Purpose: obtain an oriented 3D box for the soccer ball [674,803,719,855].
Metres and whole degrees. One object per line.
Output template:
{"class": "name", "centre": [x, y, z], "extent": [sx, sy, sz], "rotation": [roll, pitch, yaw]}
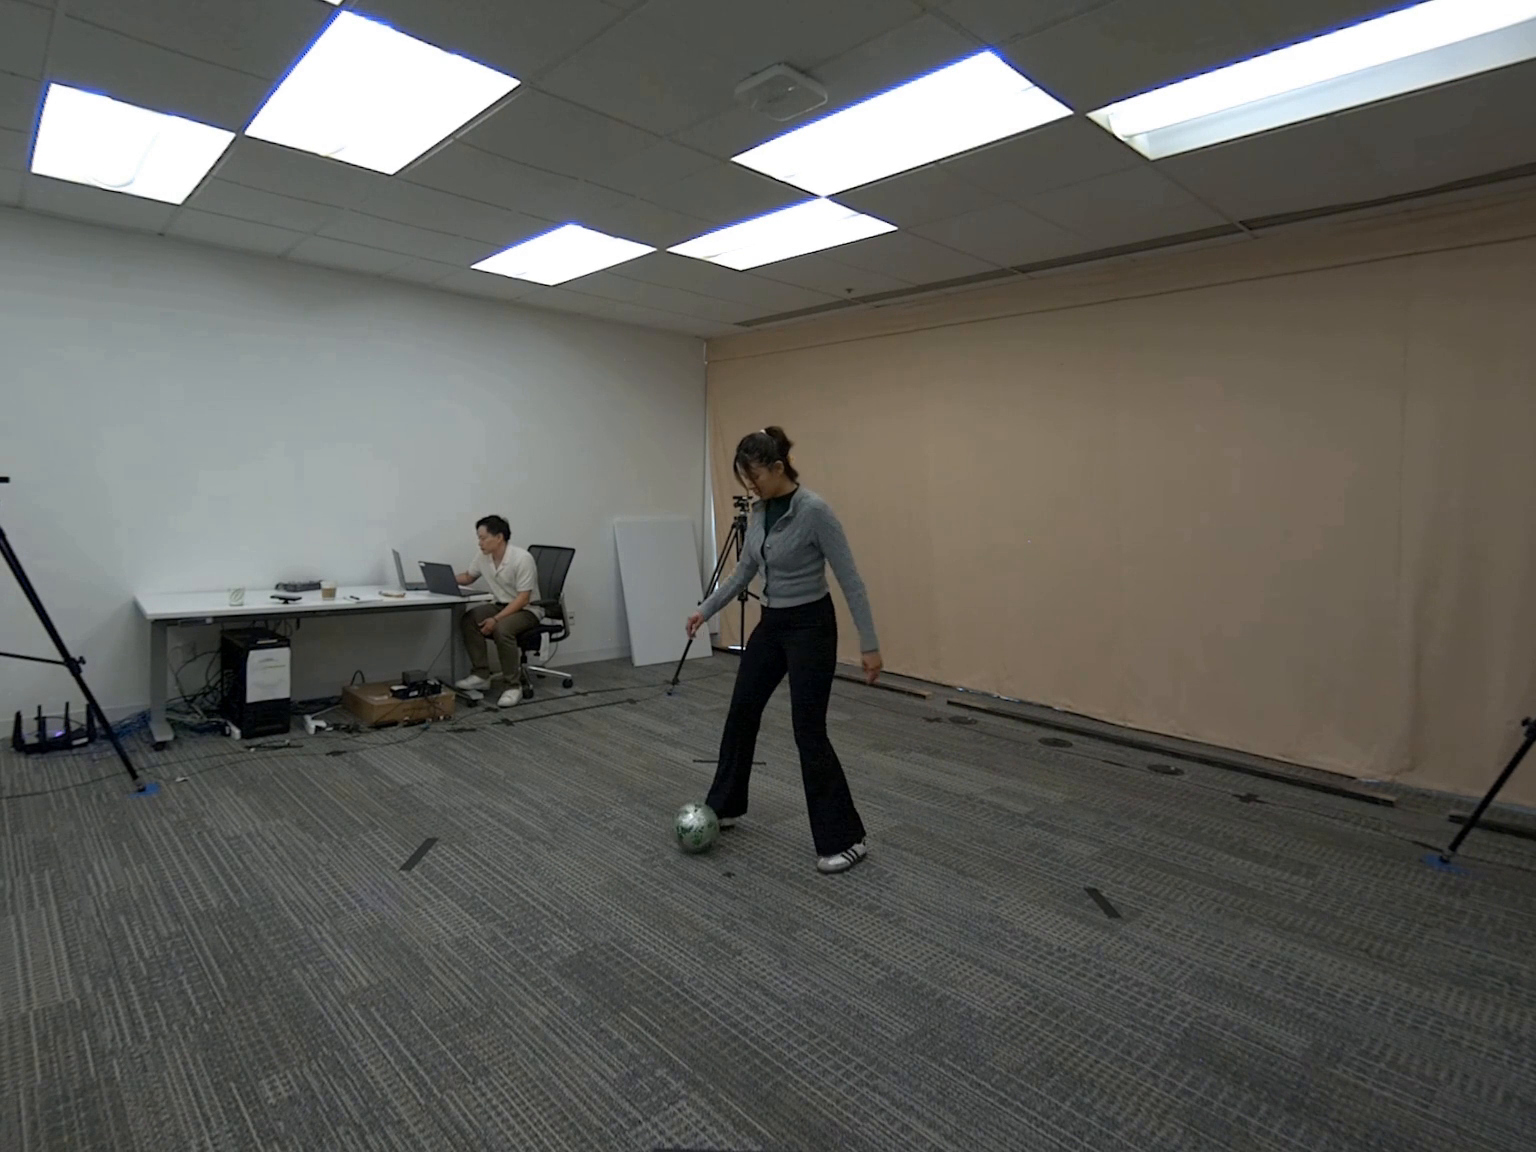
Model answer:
{"class": "soccer ball", "centre": [-0.294, 0.980, 3.299], "extent": [0.187, 0.187, 0.188], "rotation": [1, 4, -1]}
